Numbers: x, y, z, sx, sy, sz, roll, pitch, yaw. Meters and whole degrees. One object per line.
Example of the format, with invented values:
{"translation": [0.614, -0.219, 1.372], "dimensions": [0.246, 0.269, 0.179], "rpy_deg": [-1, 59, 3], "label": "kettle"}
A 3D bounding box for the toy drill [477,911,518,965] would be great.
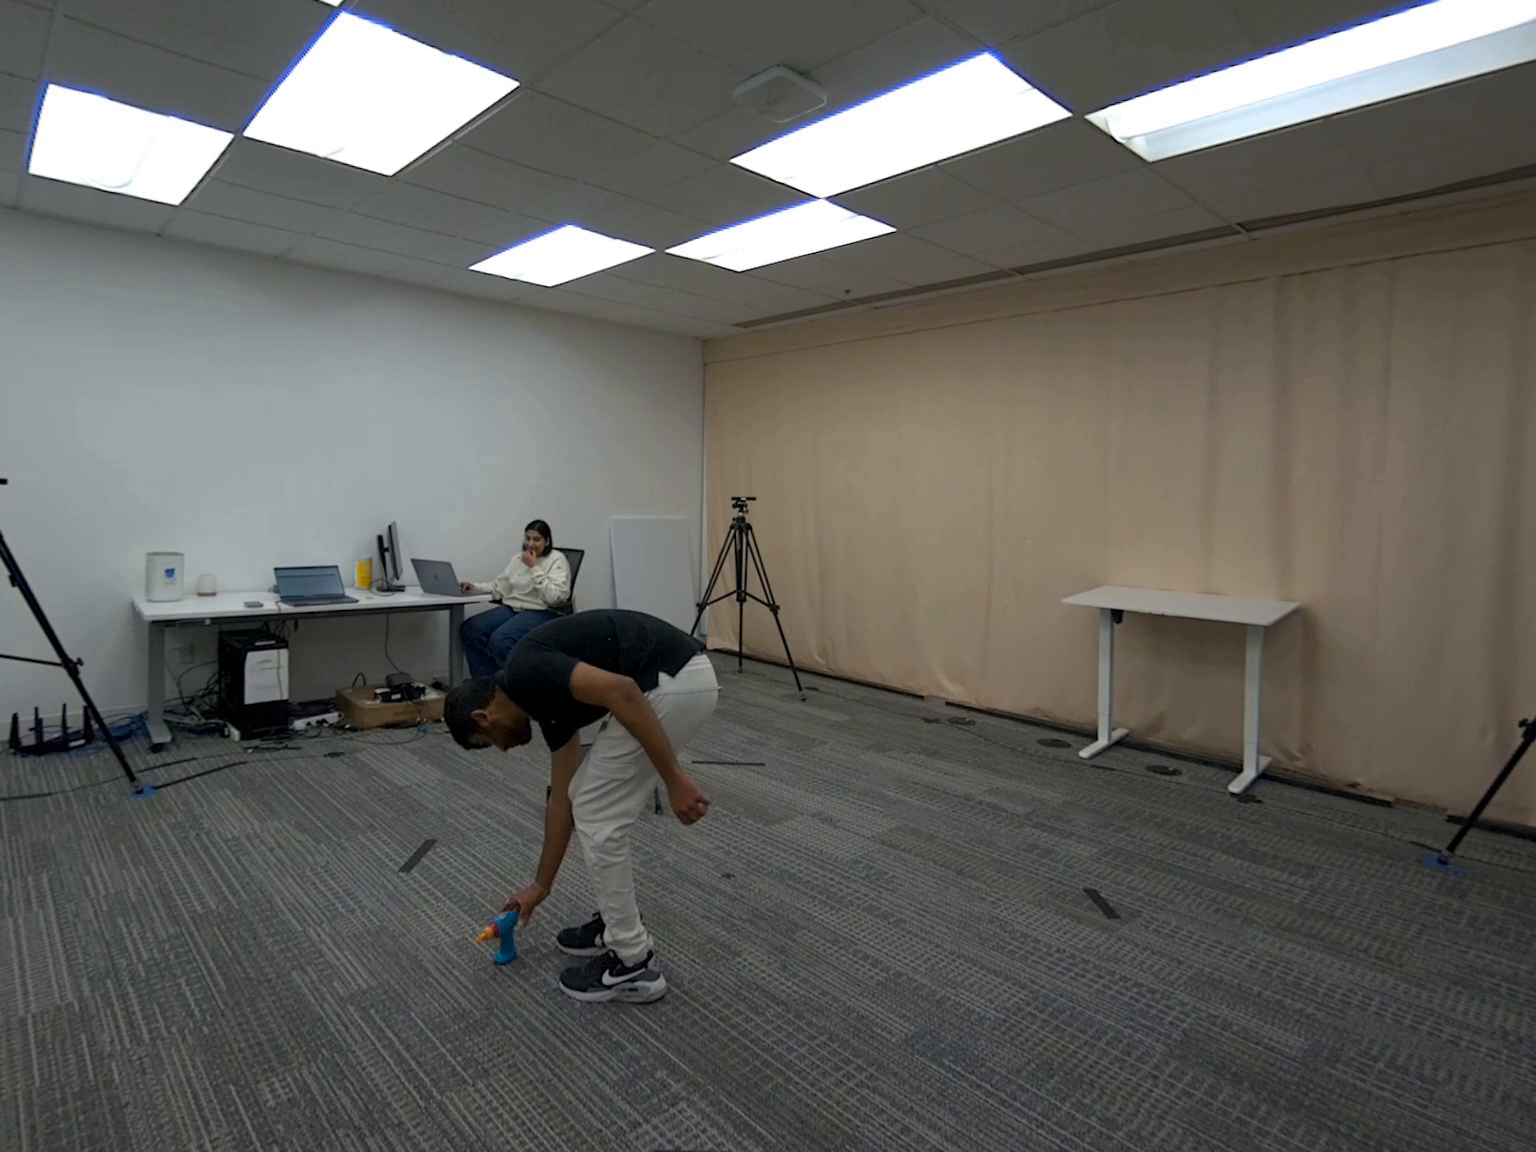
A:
{"translation": [-0.798, 1.074, 2.483], "dimensions": [0.062, 0.145, 0.168], "rpy_deg": [4, 7, 19], "label": "toy drill"}
